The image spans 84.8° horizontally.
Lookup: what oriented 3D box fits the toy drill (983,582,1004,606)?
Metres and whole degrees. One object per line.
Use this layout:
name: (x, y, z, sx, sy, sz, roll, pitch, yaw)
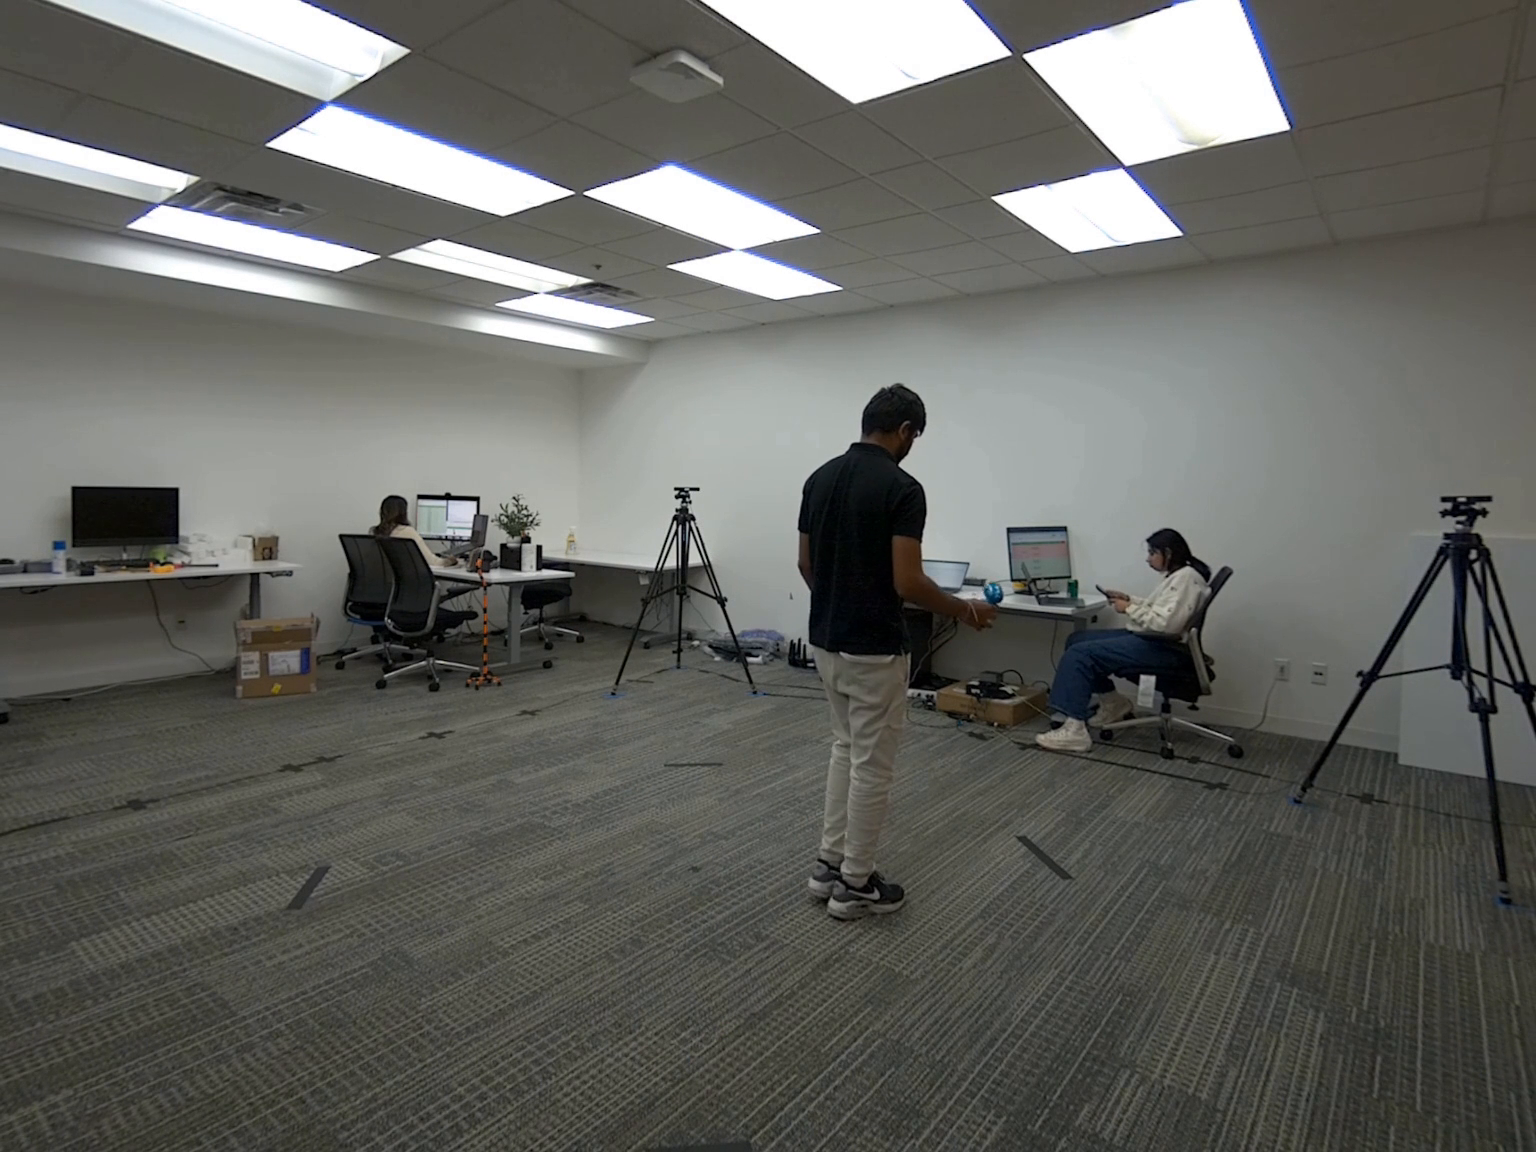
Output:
toy drill: (0.716, 0.080, 2.817, 0.060, 0.145, 0.172, 22, 16, -9)
